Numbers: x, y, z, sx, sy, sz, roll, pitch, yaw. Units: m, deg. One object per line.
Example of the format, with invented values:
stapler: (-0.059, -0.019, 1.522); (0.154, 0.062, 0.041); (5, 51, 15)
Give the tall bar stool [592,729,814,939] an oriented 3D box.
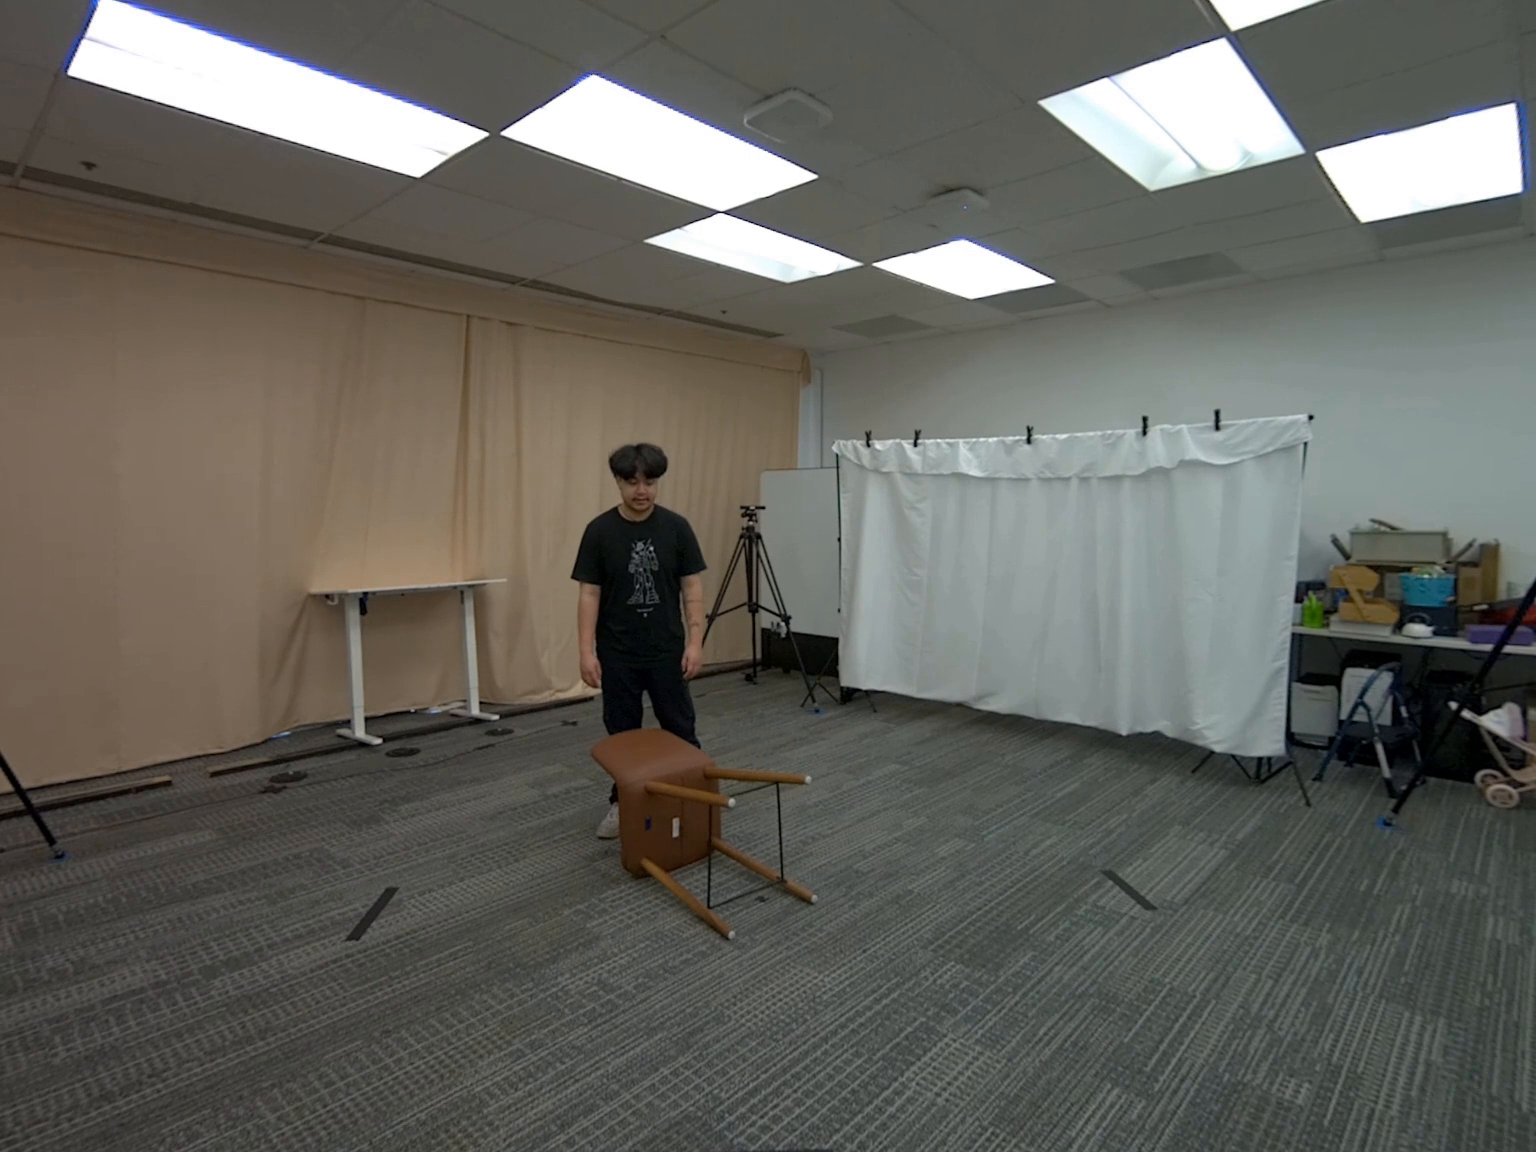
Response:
tall bar stool: (-0.272, 0.903, 3.151); (0.443, 0.466, 0.920); (-4, 6, -41)
